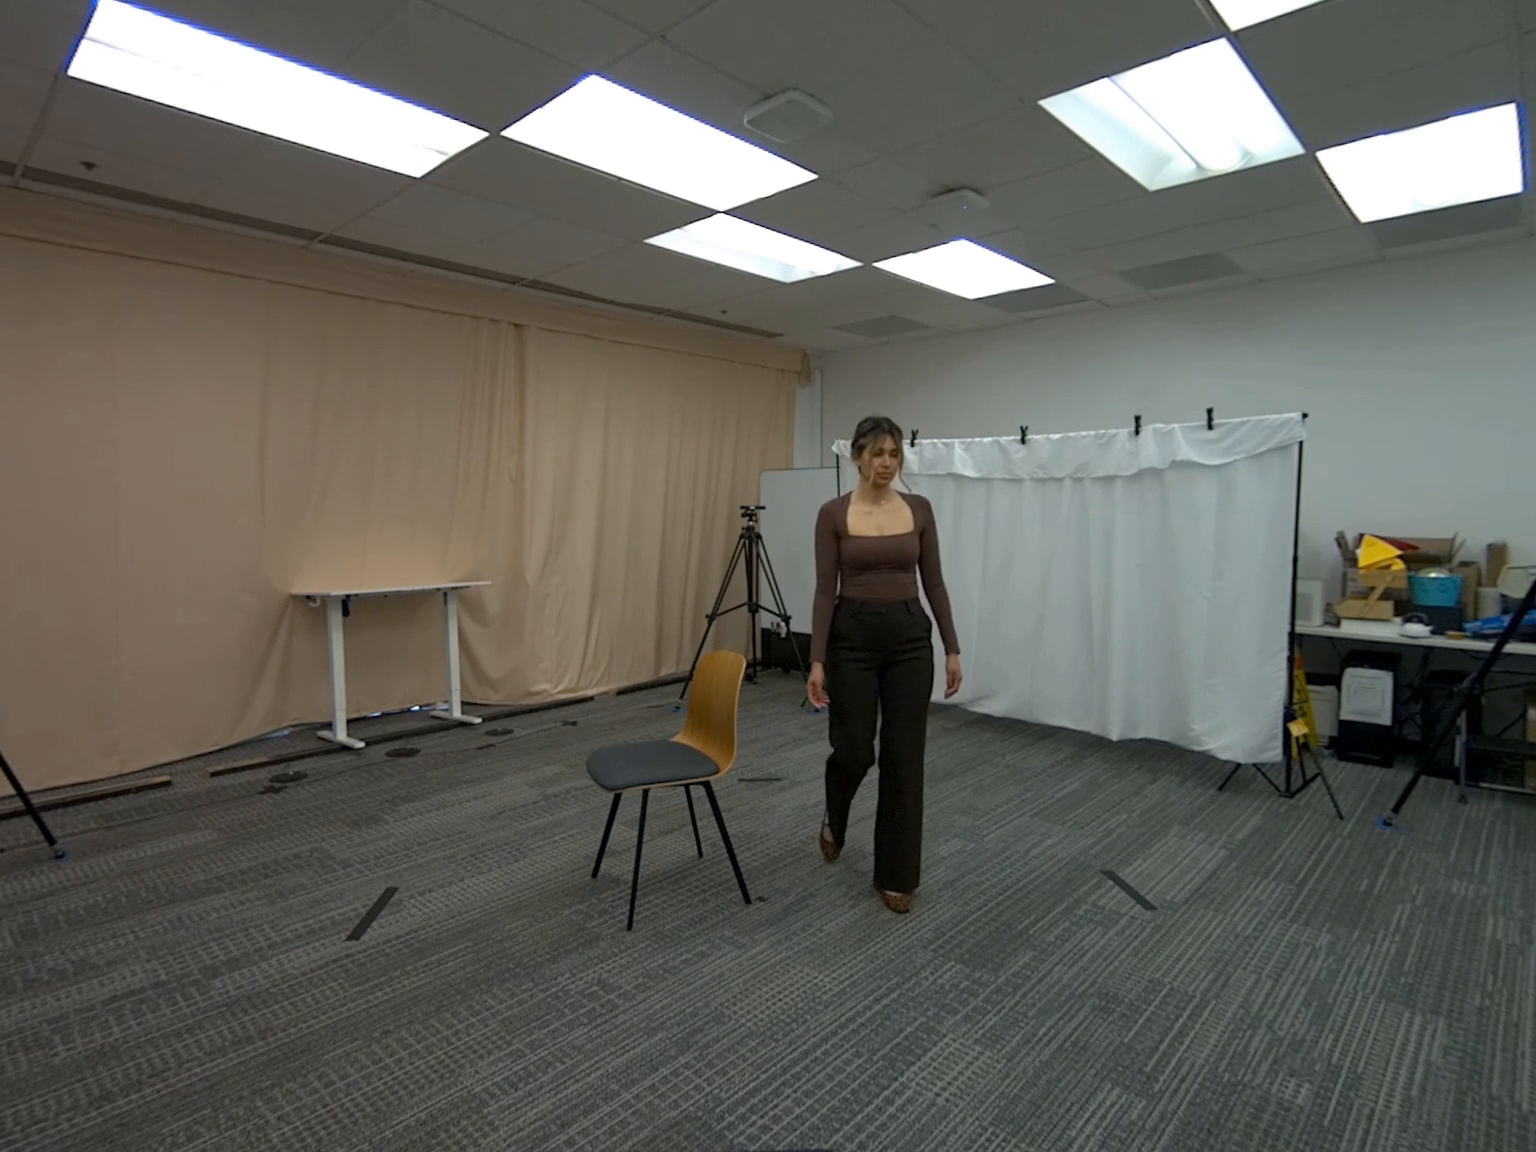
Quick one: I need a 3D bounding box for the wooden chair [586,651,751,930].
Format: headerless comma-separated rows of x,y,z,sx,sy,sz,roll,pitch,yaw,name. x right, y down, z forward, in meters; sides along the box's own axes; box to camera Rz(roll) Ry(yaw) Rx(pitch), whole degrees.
-0.367,0.718,3.025,0.510,0.876,0.491,3,2,-27,wooden chair
